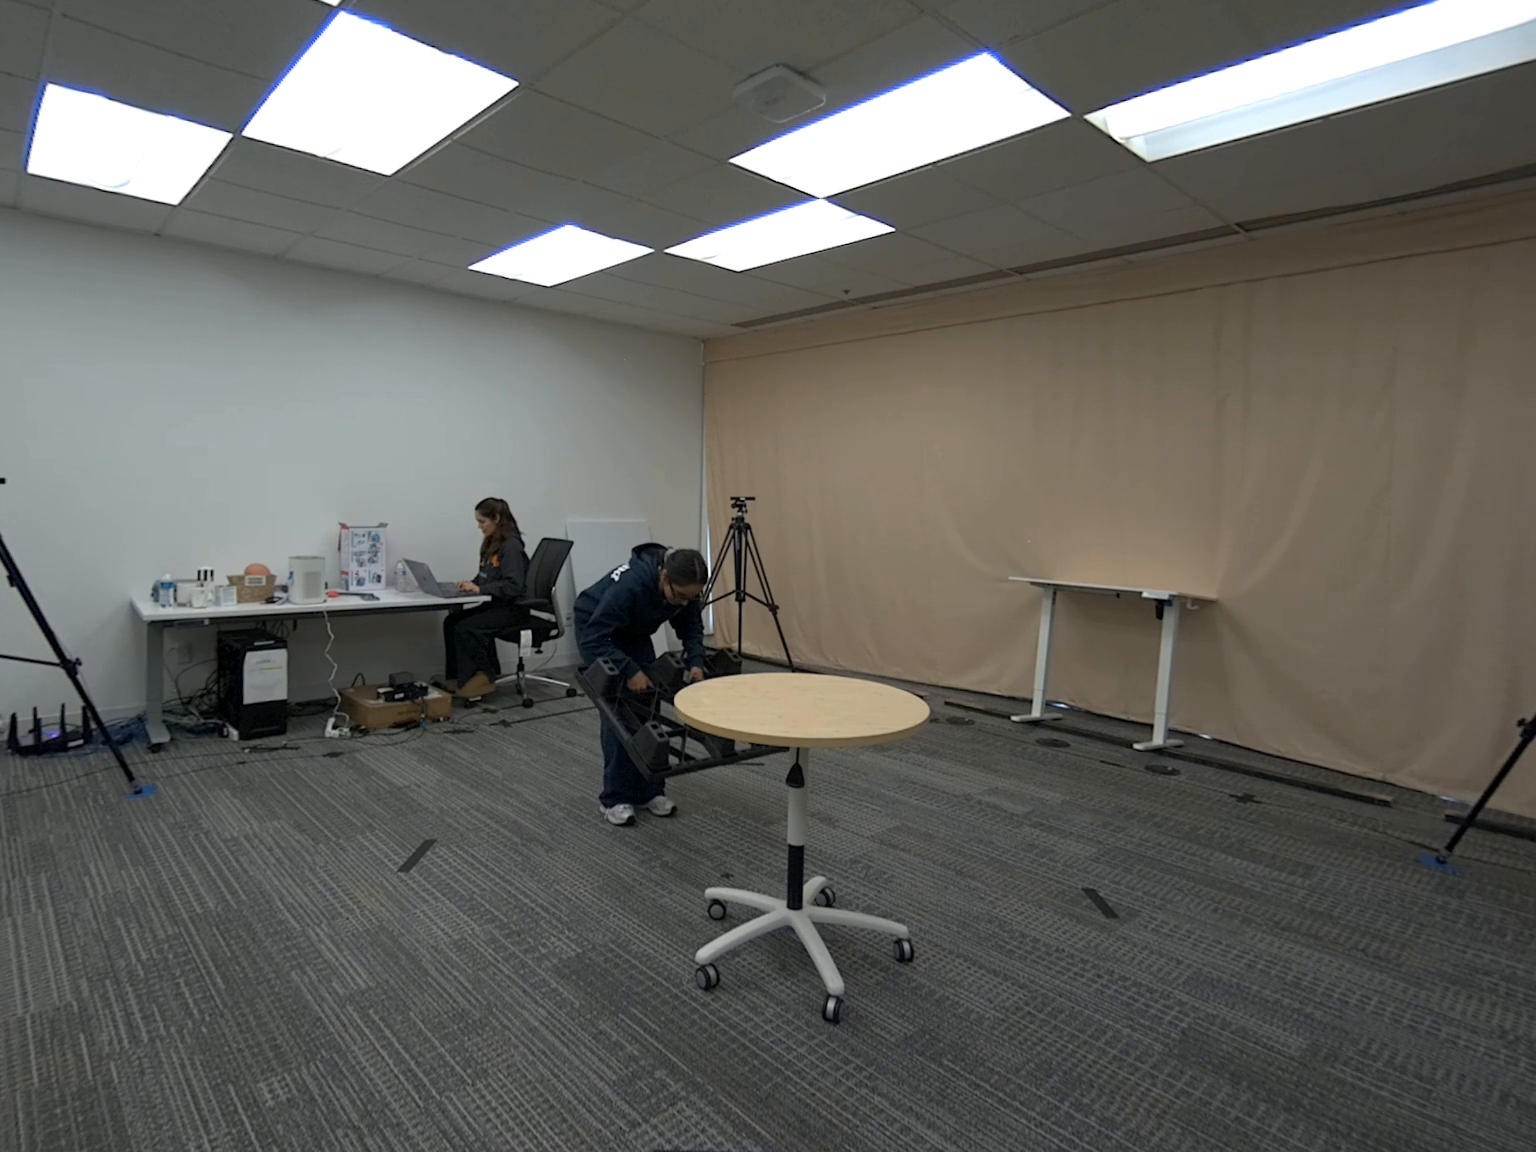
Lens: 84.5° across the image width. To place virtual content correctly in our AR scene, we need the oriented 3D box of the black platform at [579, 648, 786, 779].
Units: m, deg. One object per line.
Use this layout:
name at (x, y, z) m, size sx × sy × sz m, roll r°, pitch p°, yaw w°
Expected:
black platform at (-0.318, 0.521, 3.434) m, size 0.786 × 0.142 × 0.624 m, roll -1°, pitch 35°, yaw -46°
